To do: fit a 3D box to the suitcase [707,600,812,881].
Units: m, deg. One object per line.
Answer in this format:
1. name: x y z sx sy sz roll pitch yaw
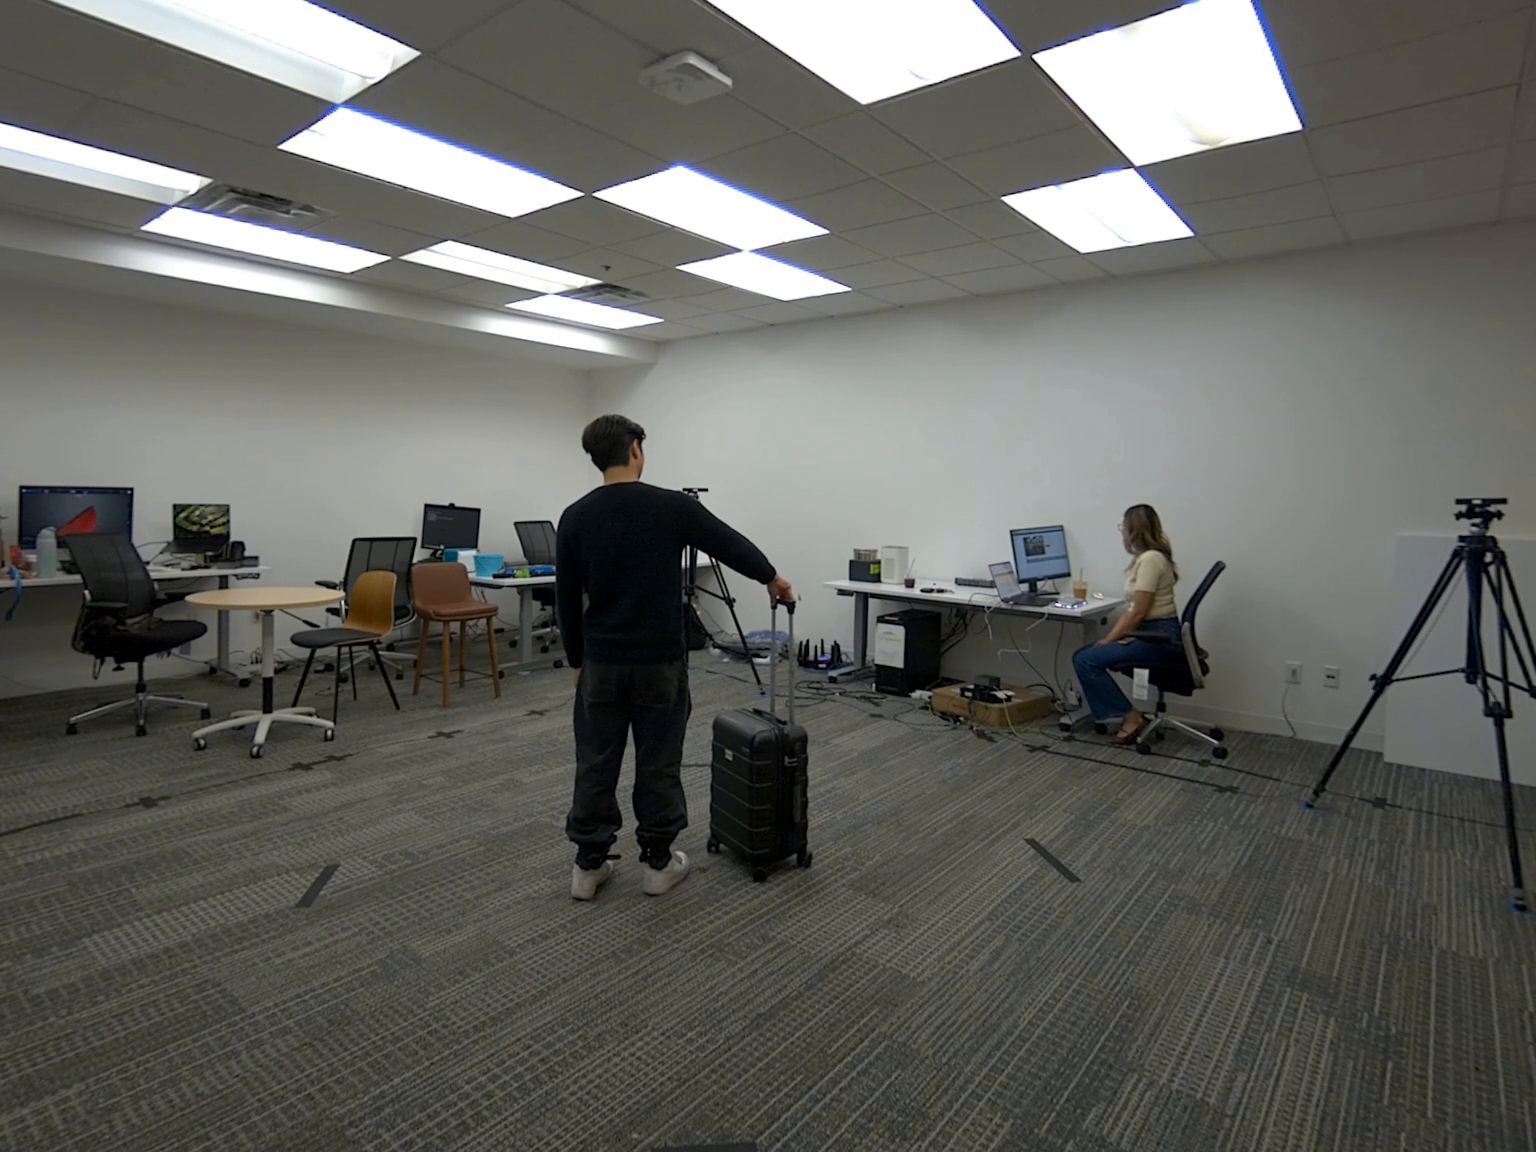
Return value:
1. suitcase: -0.049 0.583 3.184 0.250 0.974 0.395 -5 5 -31
